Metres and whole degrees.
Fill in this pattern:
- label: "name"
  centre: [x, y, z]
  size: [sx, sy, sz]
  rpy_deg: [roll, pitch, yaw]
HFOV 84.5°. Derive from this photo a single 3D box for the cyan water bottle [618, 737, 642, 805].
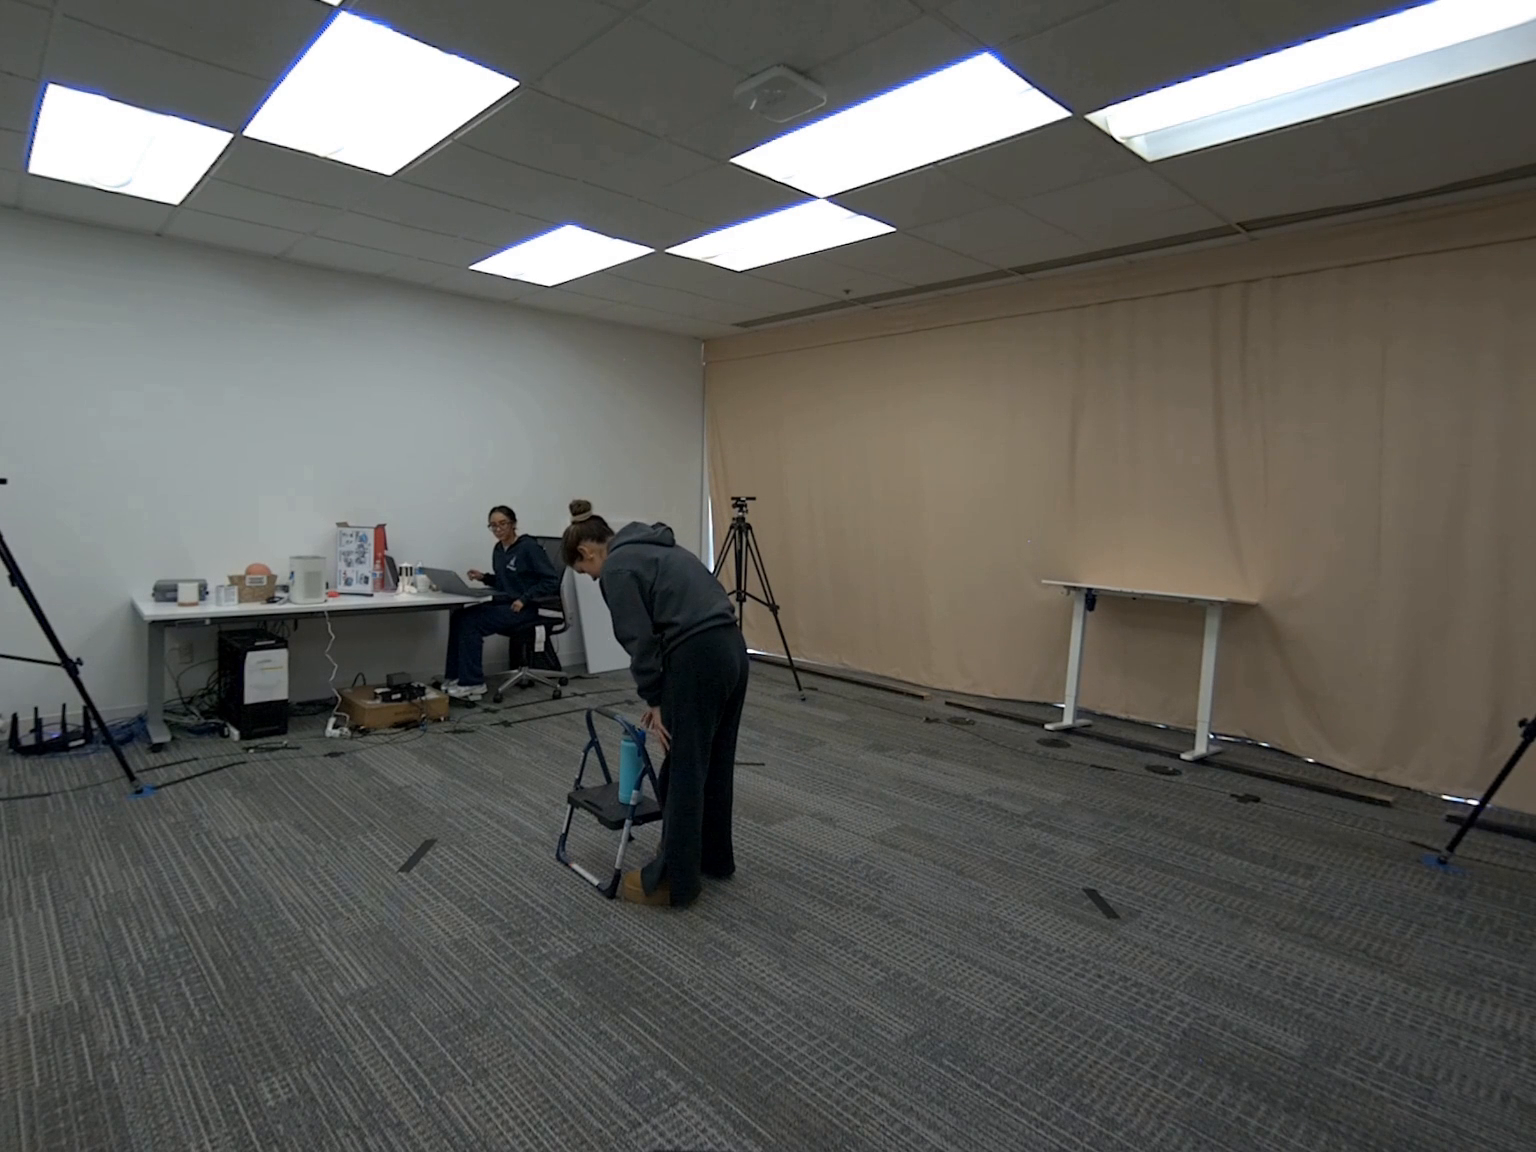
- label: "cyan water bottle"
  centre: [-0.509, 0.694, 3.133]
  size: [0.092, 0.283, 0.092]
  rpy_deg: [3, 0, -1]
